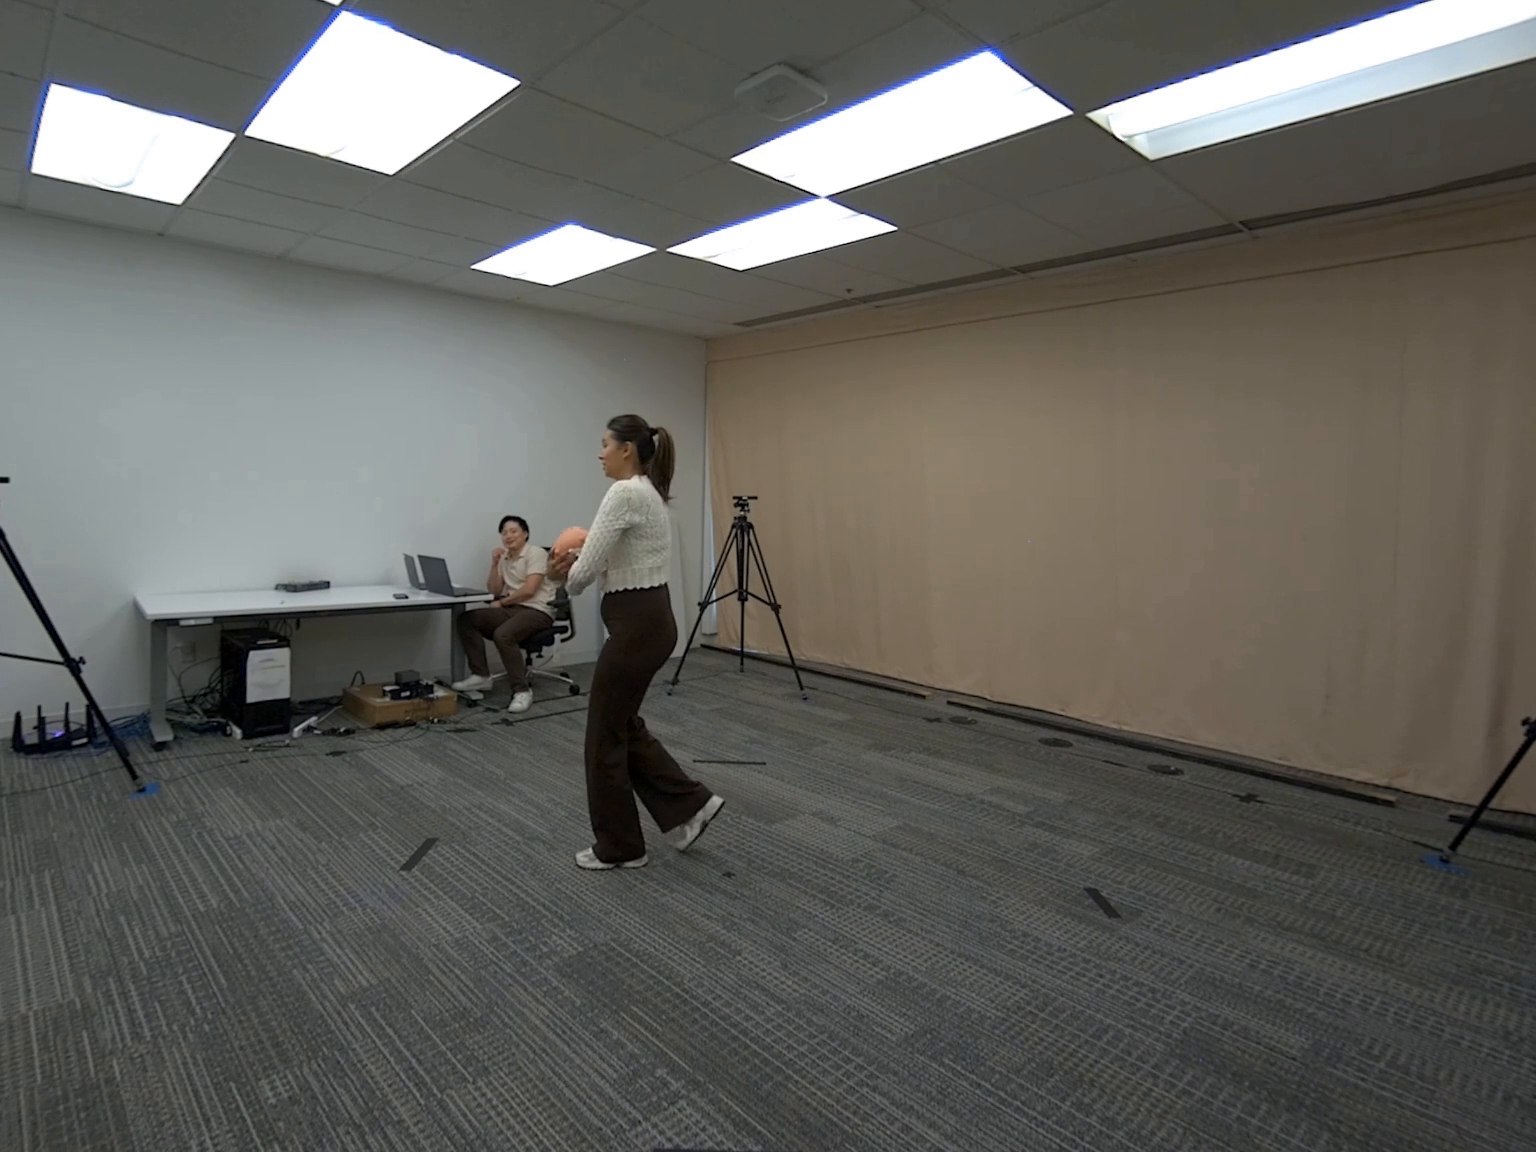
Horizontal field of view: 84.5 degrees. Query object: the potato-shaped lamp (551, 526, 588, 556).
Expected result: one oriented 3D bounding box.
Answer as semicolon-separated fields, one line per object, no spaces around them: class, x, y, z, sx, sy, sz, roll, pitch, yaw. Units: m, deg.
potato-shaped lamp;-0.707;-0.108;3.096;0.164;0.167;0.204;-29;33;-2
